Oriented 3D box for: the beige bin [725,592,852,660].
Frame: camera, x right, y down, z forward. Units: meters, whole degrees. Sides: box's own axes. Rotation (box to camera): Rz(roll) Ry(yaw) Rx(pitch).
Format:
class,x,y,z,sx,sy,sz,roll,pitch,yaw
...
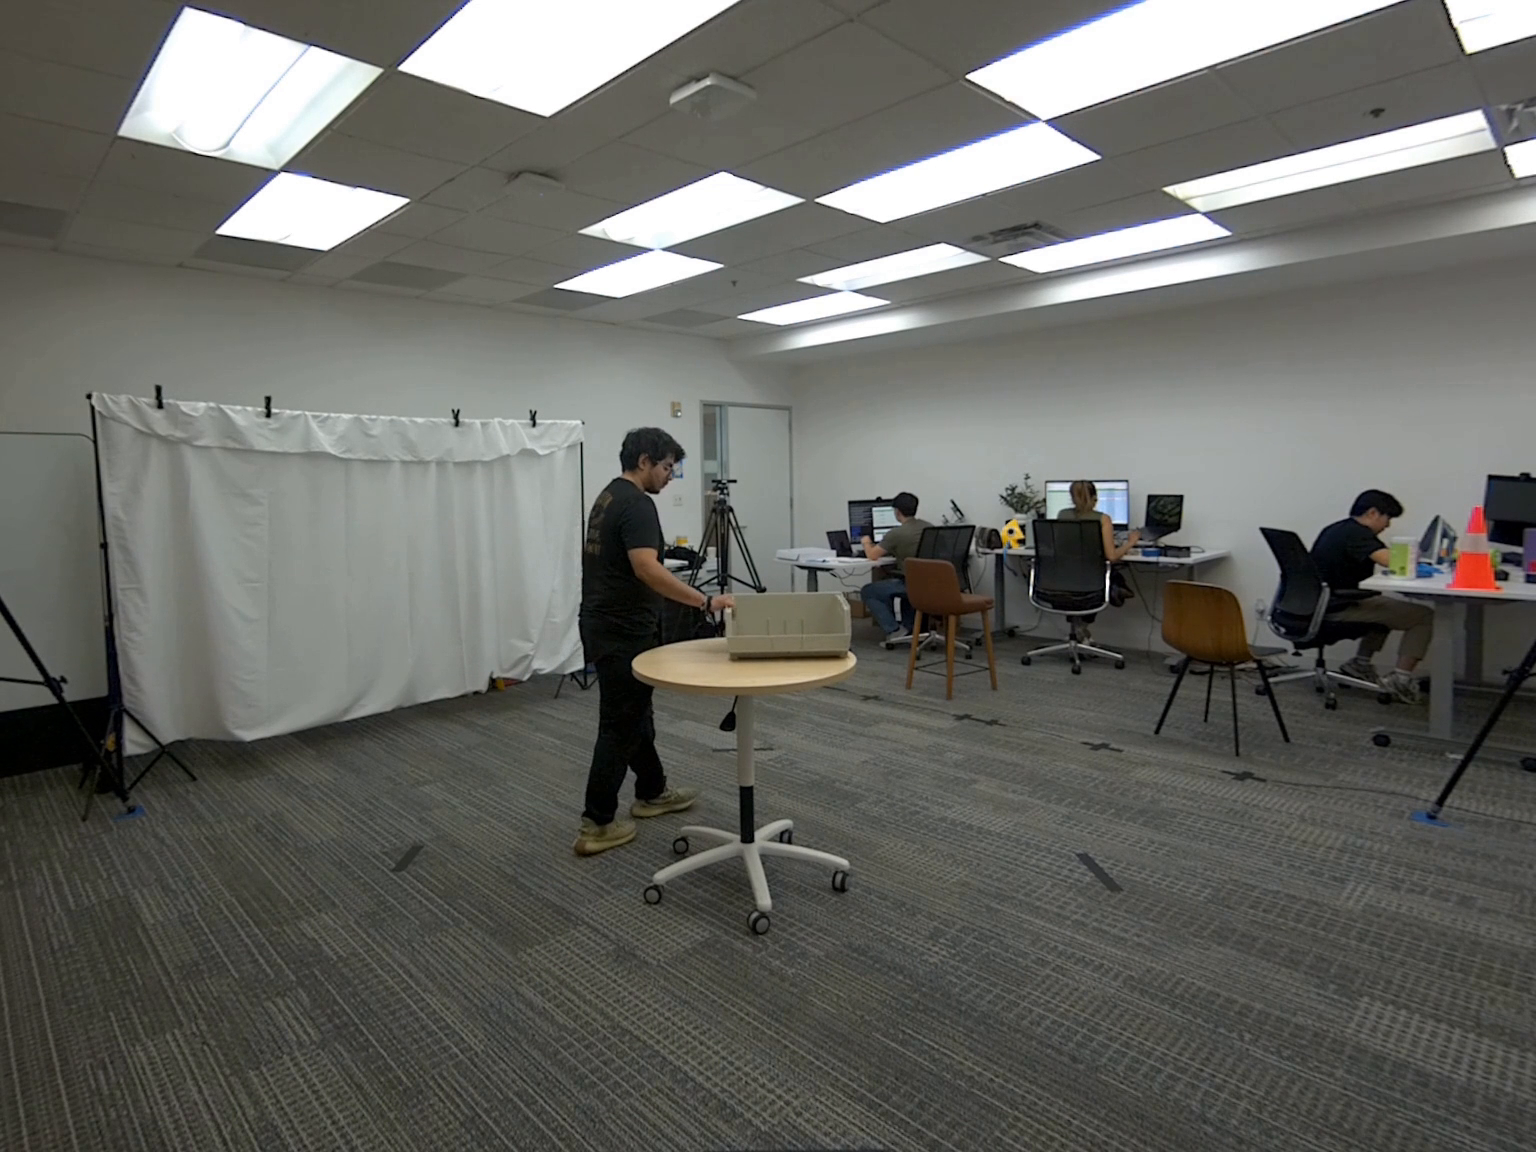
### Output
class,x,y,z,sx,sy,sz,roll,pitch,yaw
beige bin,0.065,0.175,3.033,0.424,0.188,0.378,-2,6,2
